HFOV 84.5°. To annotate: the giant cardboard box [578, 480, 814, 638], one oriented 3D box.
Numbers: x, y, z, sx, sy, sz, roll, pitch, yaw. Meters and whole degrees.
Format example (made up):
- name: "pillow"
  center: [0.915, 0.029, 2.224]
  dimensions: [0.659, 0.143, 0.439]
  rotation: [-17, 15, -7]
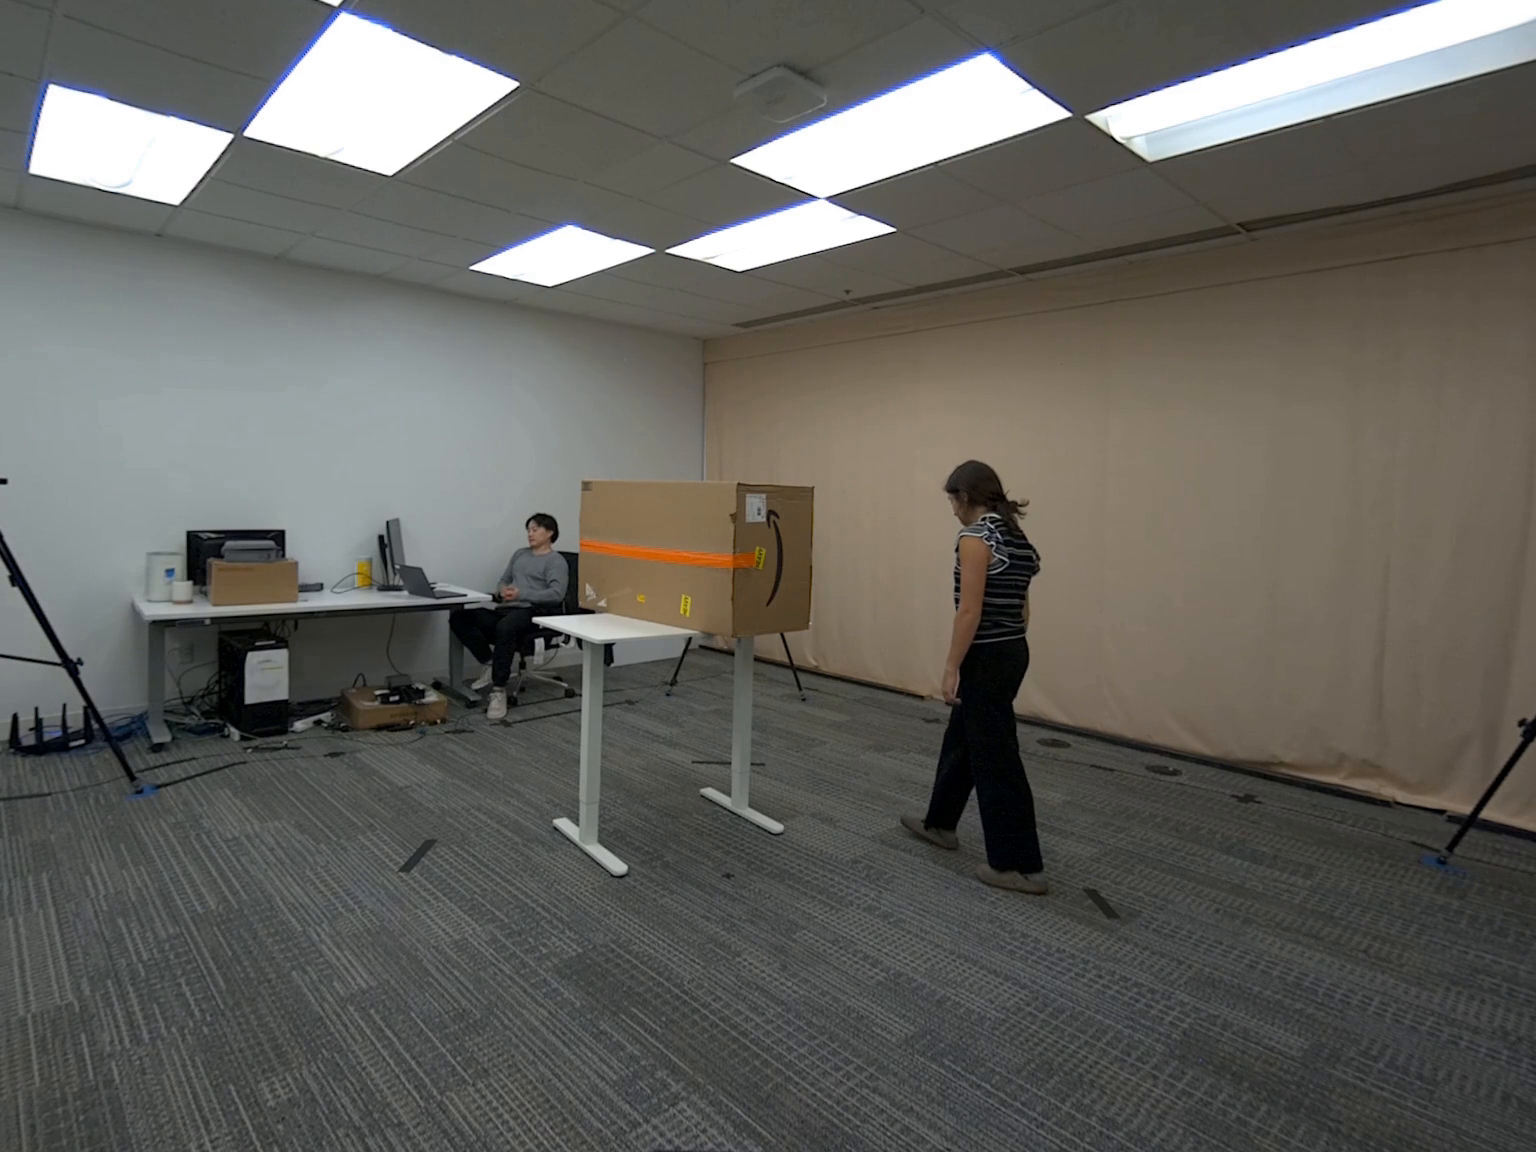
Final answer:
- name: "giant cardboard box"
  center: [-0.348, -0.108, 3.568]
  dimensions: [0.416, 0.576, 1.052]
  rotation: [-2, 6, -44]
